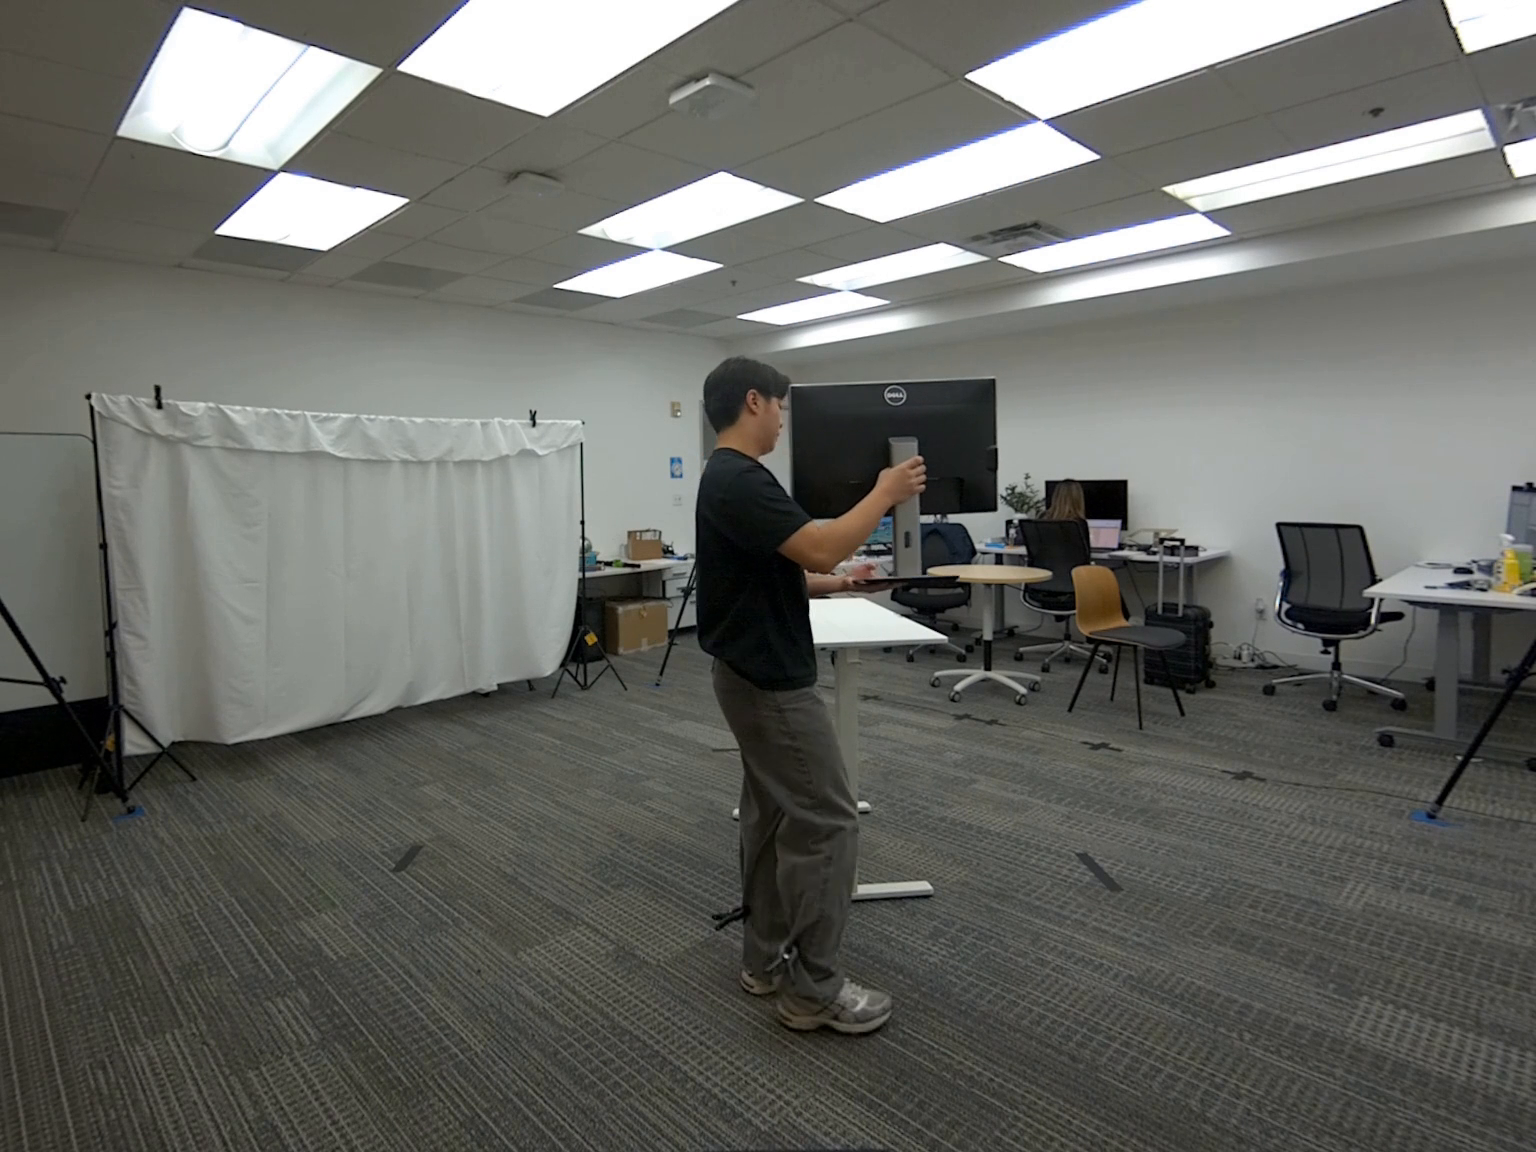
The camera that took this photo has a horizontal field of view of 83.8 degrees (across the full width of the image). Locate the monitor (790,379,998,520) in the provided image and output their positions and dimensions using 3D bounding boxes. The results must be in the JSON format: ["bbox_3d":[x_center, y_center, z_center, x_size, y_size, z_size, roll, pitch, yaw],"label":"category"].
[{"bbox_3d":[0.345,-0.241,2.263,0.562,0.570,0.220,-3,-7,1],"label":"monitor"}]
